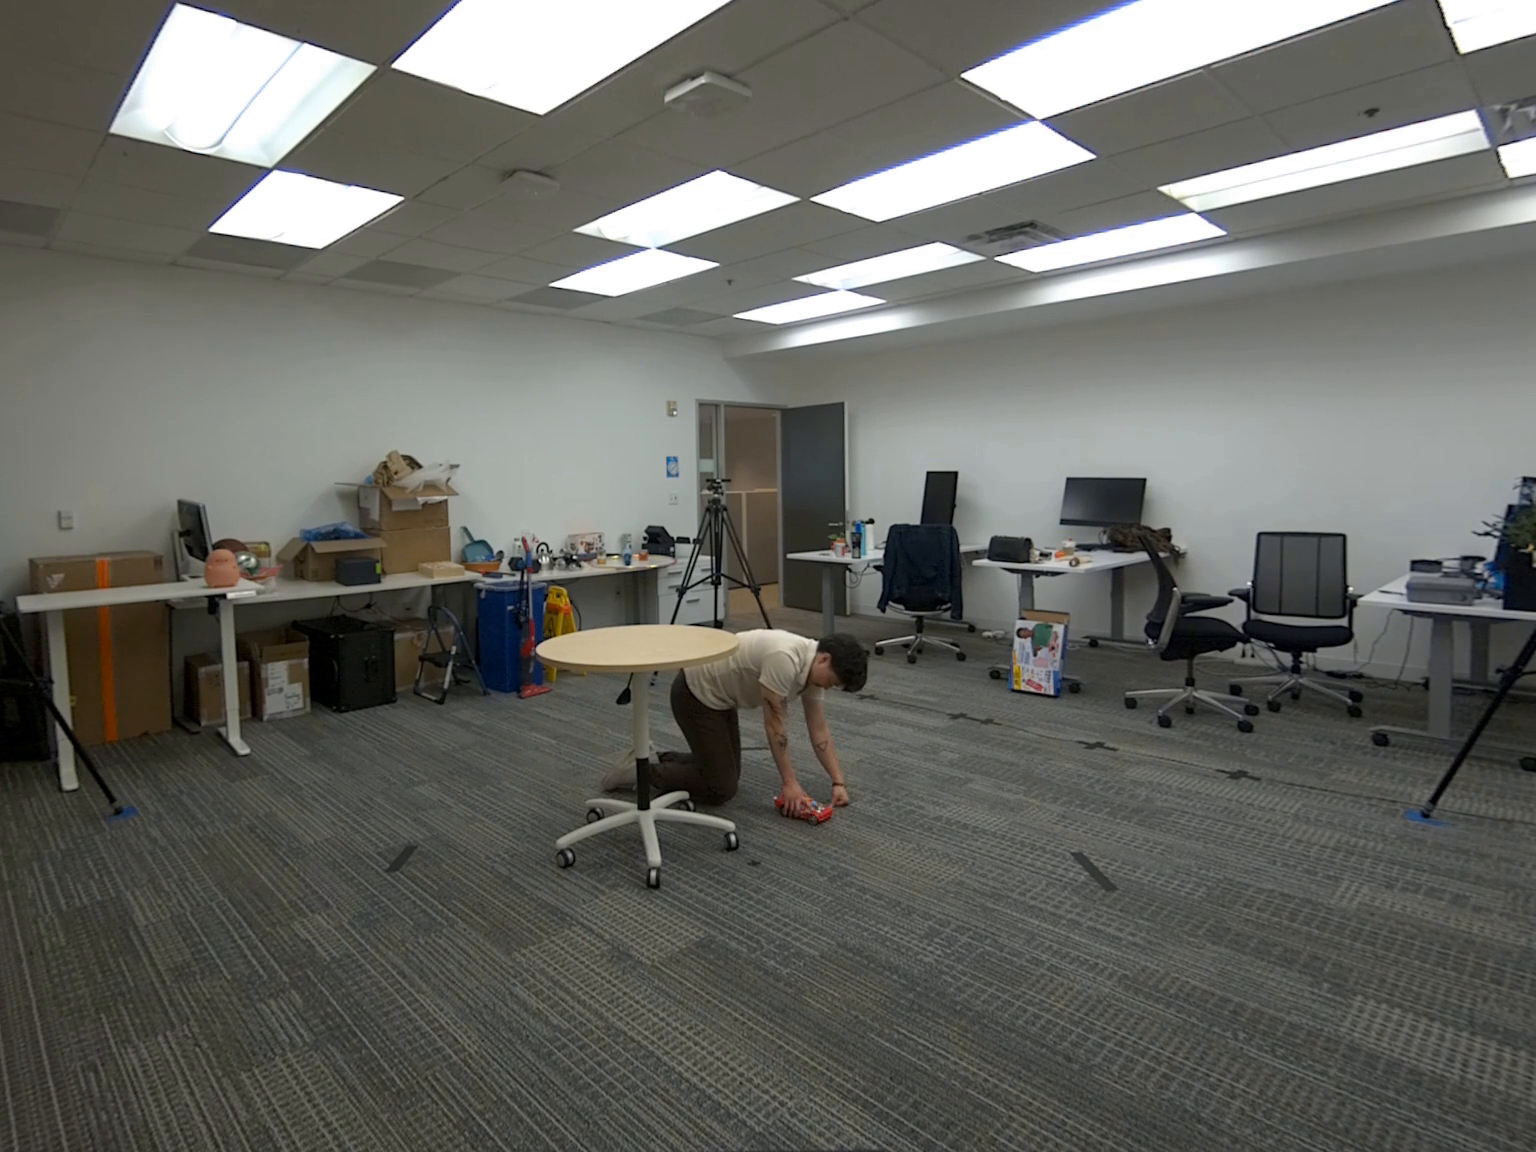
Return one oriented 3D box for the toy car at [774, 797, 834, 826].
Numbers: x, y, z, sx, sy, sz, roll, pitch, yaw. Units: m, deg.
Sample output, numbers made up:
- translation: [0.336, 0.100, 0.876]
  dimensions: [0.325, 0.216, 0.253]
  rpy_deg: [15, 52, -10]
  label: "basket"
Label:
- translation: [0.139, 0.960, 3.544]
  dimensions: [0.264, 0.082, 0.127]
  rpy_deg: [18, 16, 39]
  label: "toy car"
